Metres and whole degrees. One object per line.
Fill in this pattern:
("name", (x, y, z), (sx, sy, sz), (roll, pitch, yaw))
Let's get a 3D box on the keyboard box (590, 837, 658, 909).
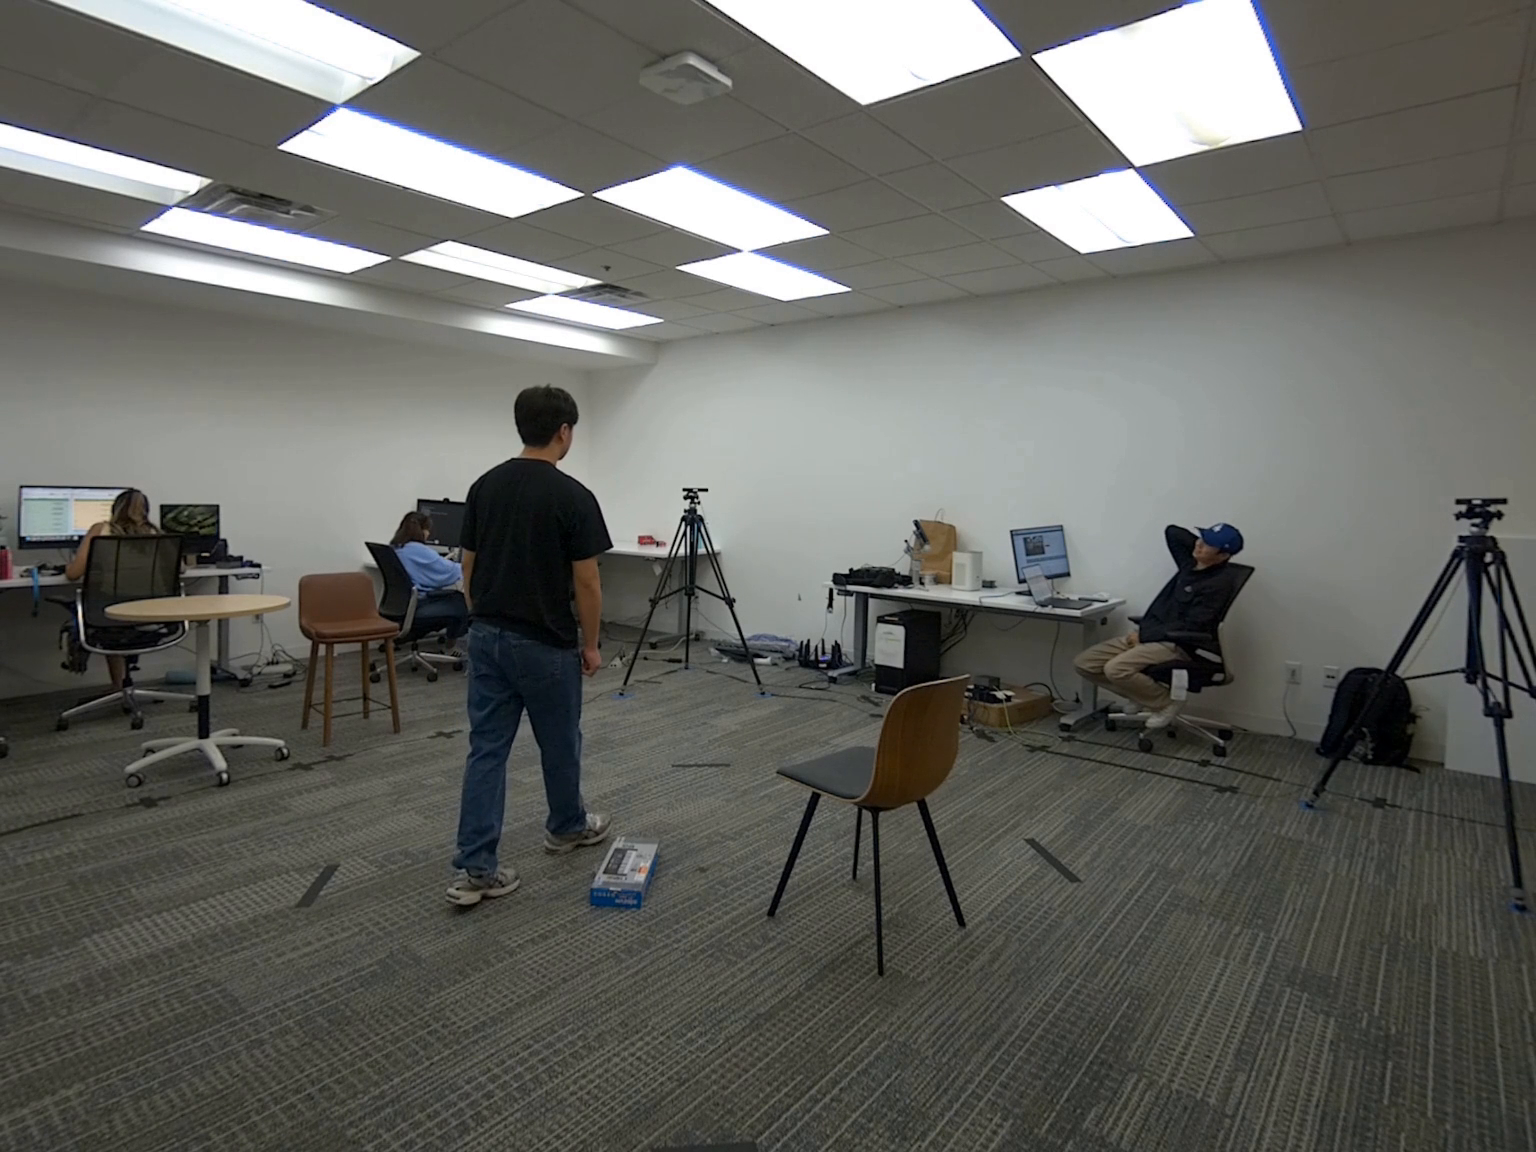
("keyboard box", (-0.511, 1.047, 3.026), (0.177, 0.059, 0.436), (2, 5, 3))
